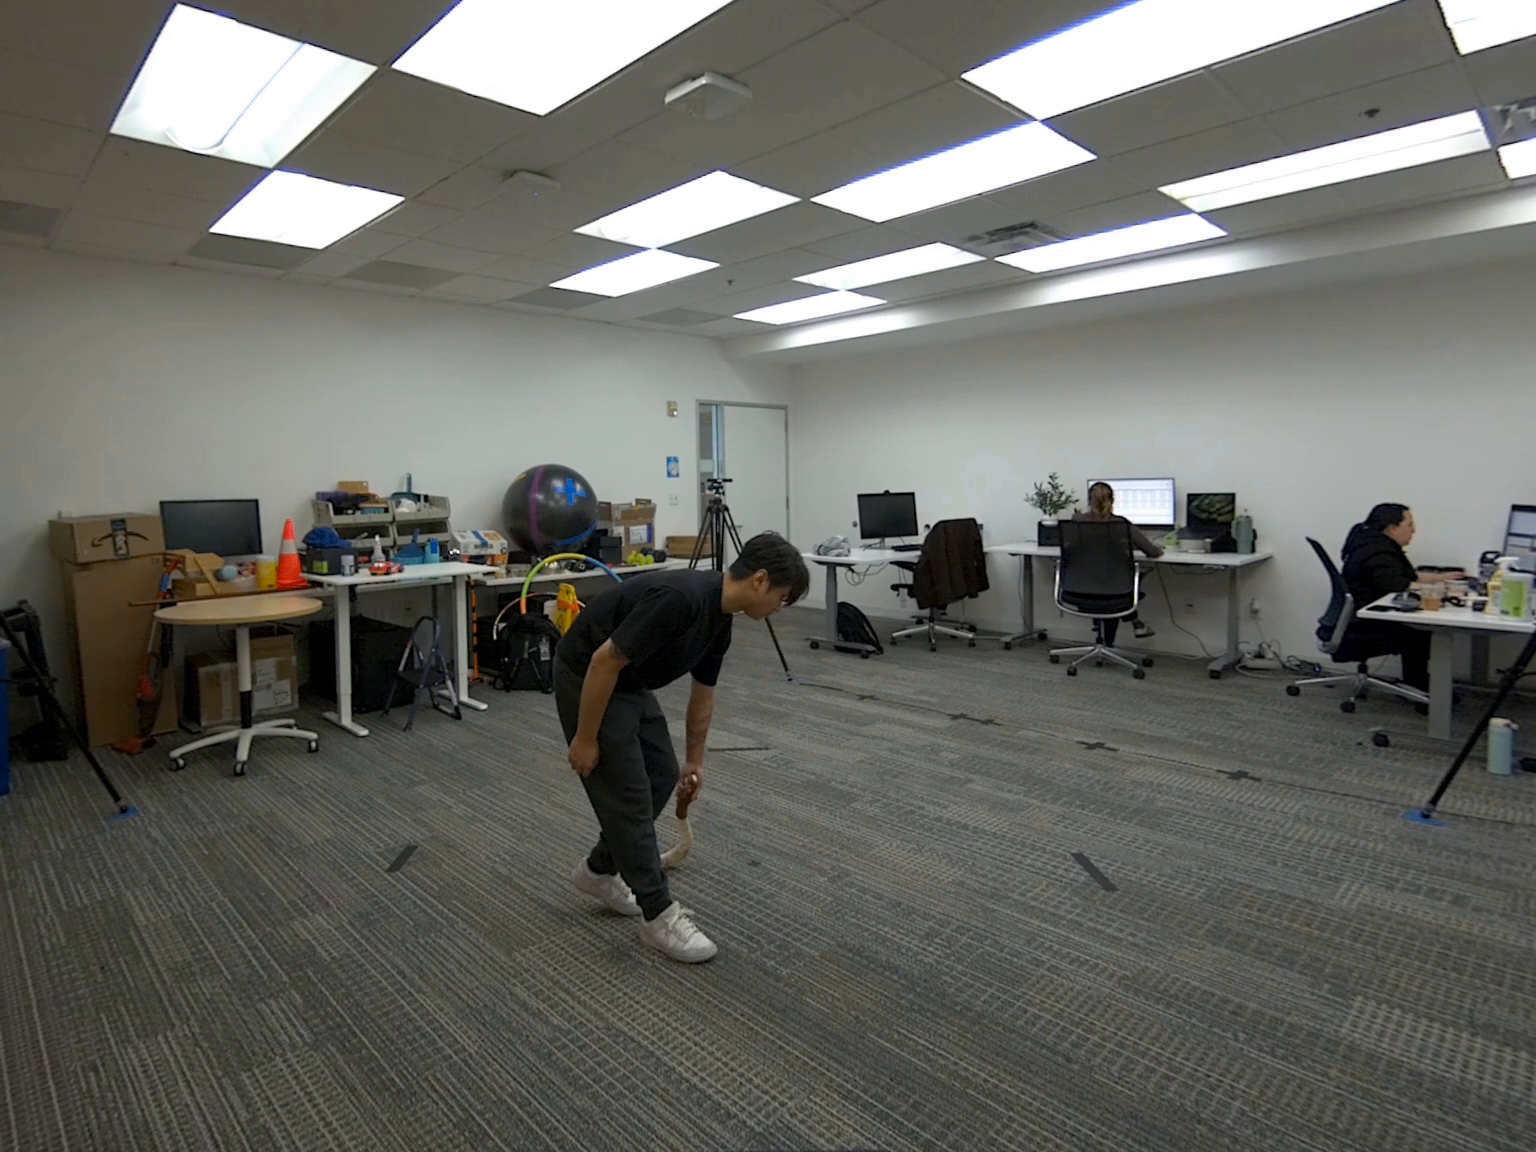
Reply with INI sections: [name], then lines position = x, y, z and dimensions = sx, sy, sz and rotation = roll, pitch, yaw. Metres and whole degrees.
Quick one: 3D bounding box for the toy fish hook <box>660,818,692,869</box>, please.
[toy fish hook]
position = -0.349, 0.864, 2.936
dimensions = 0.220, 0.497, 0.050
rotation = -5, 40, -25
